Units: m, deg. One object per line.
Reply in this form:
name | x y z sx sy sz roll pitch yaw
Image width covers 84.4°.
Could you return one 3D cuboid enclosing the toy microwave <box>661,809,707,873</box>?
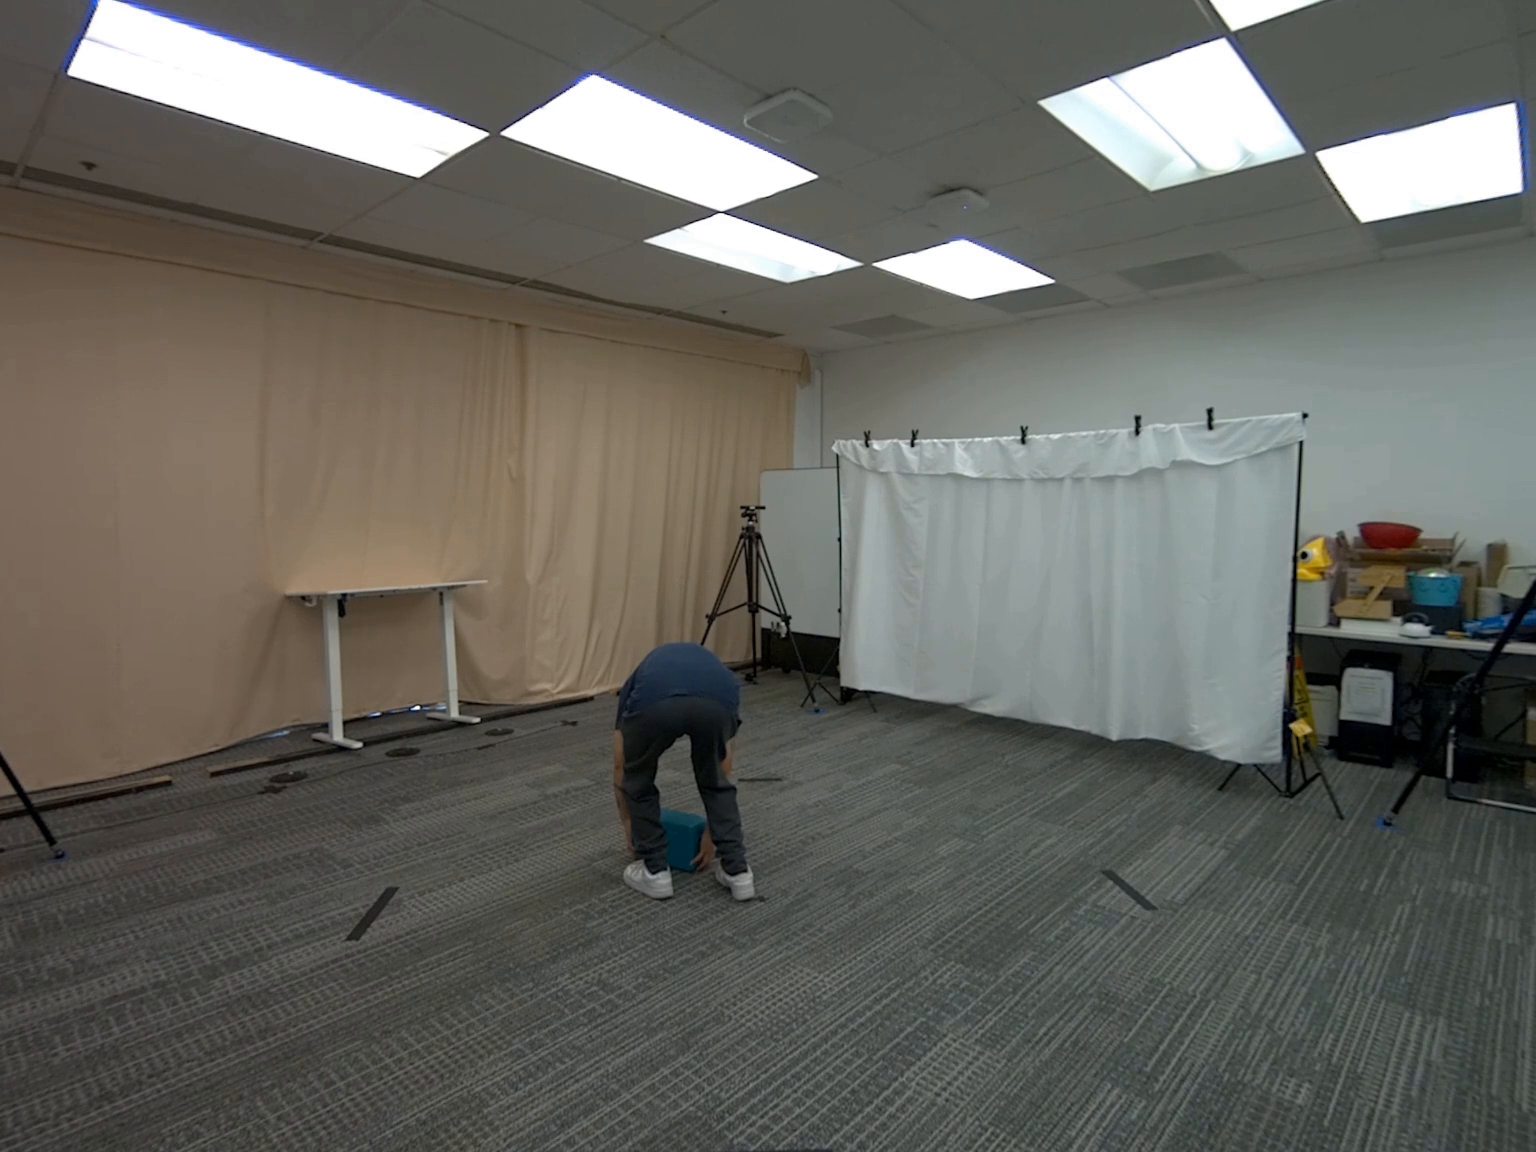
toy microwave | -0.373 1.029 3.308 0.294 0.184 0.148 1 3 30
